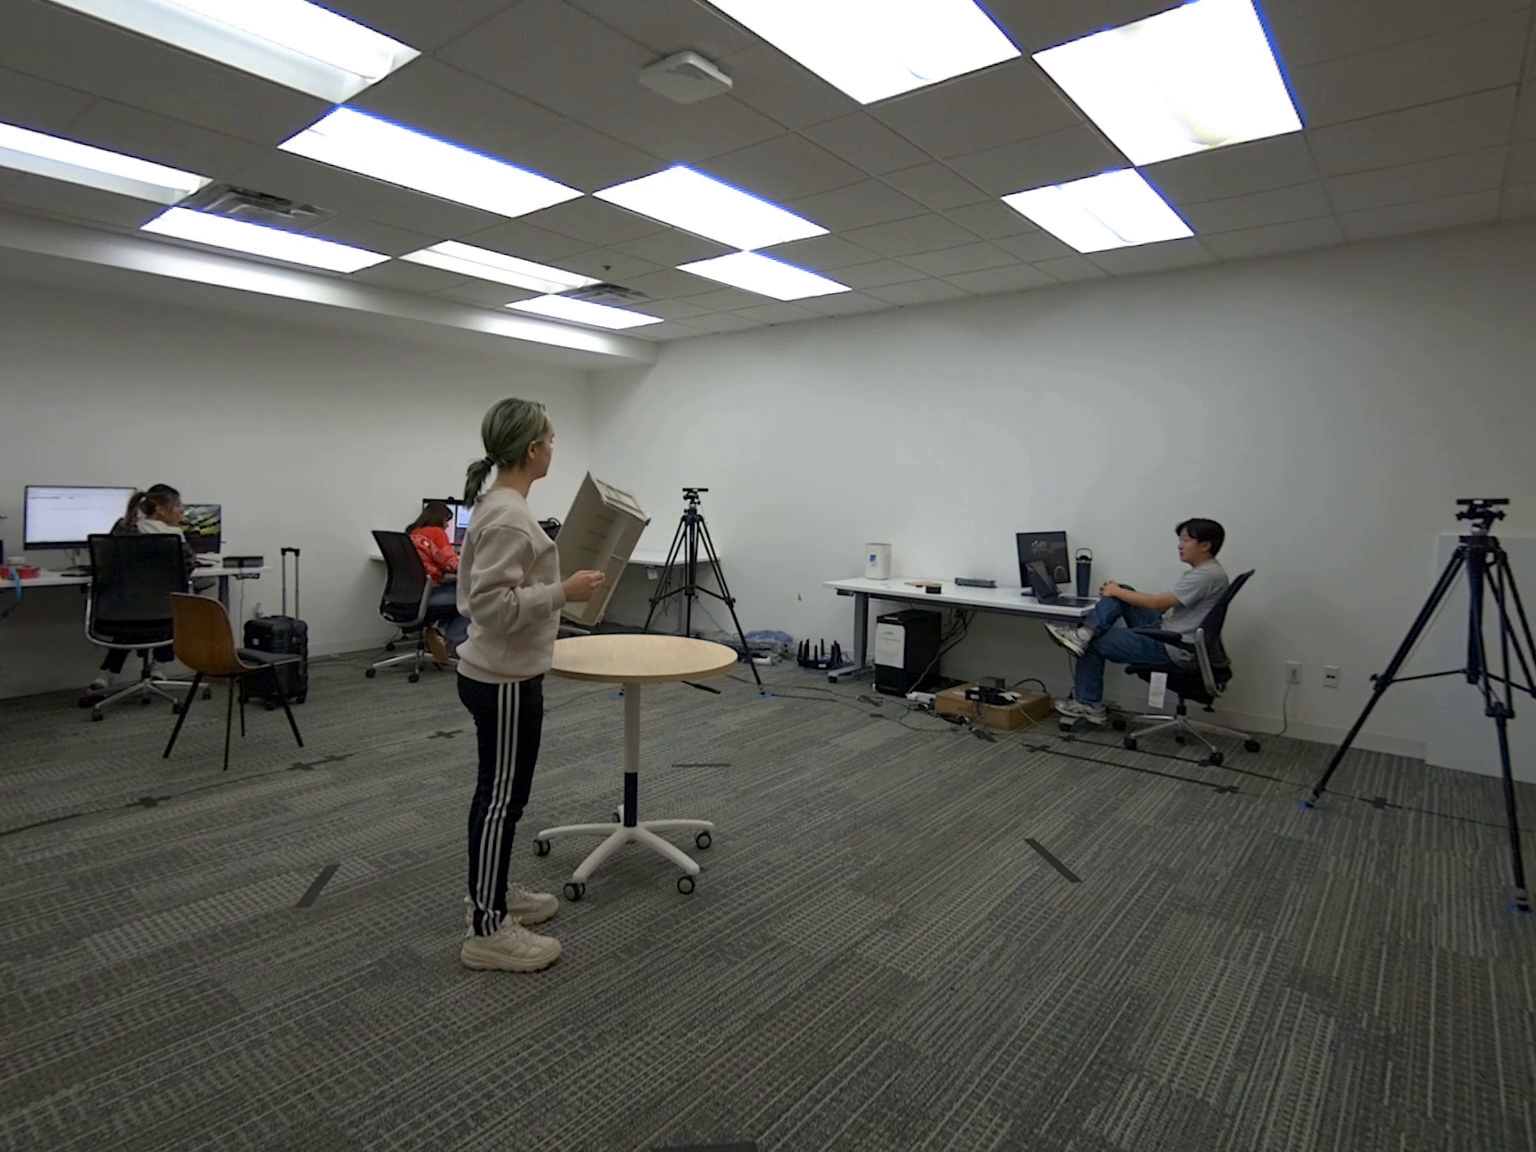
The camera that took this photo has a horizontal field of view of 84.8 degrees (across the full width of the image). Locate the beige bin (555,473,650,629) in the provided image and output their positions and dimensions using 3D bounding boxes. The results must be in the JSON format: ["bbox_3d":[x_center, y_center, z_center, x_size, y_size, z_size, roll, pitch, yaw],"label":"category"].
[{"bbox_3d":[-0.607,-0.095,2.955,0.183,0.420,0.391,21,14,-28],"label":"beige bin"}]
